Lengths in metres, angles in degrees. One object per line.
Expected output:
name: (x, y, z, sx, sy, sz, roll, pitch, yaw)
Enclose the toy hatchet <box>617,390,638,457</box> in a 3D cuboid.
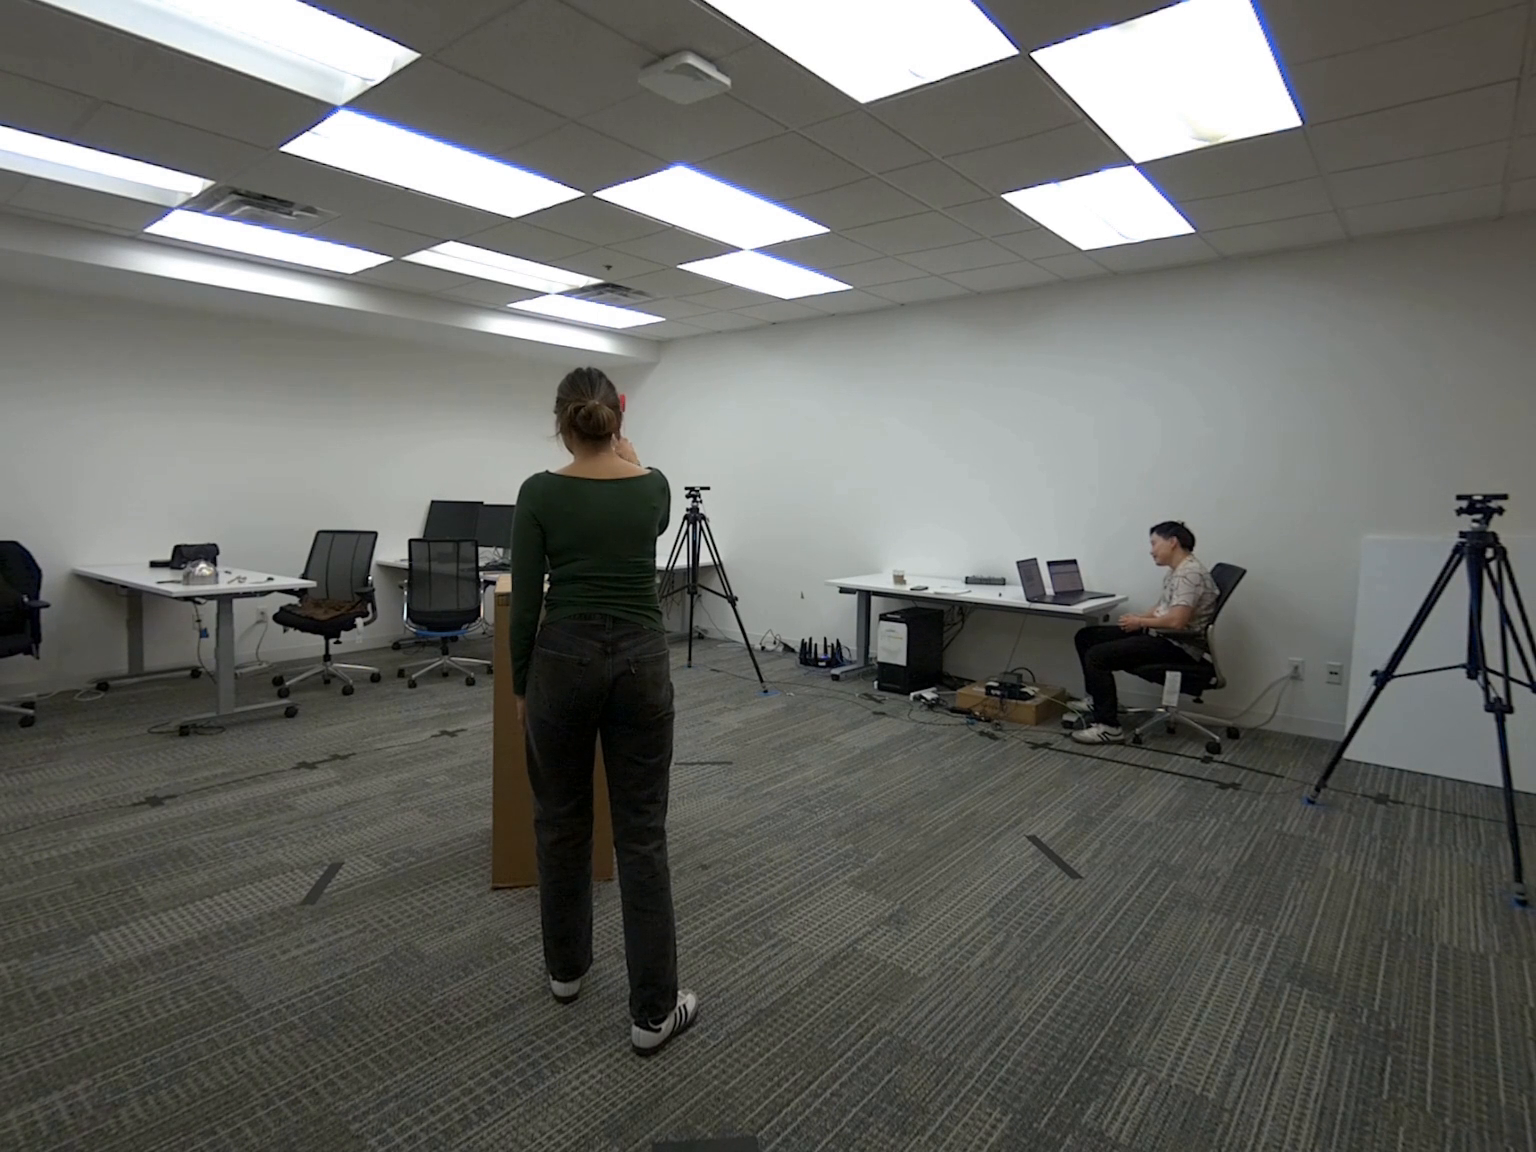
toy hatchet: (-0.491, -0.466, 2.787, 0.029, 0.277, 0.131, 2, -26, -33)
